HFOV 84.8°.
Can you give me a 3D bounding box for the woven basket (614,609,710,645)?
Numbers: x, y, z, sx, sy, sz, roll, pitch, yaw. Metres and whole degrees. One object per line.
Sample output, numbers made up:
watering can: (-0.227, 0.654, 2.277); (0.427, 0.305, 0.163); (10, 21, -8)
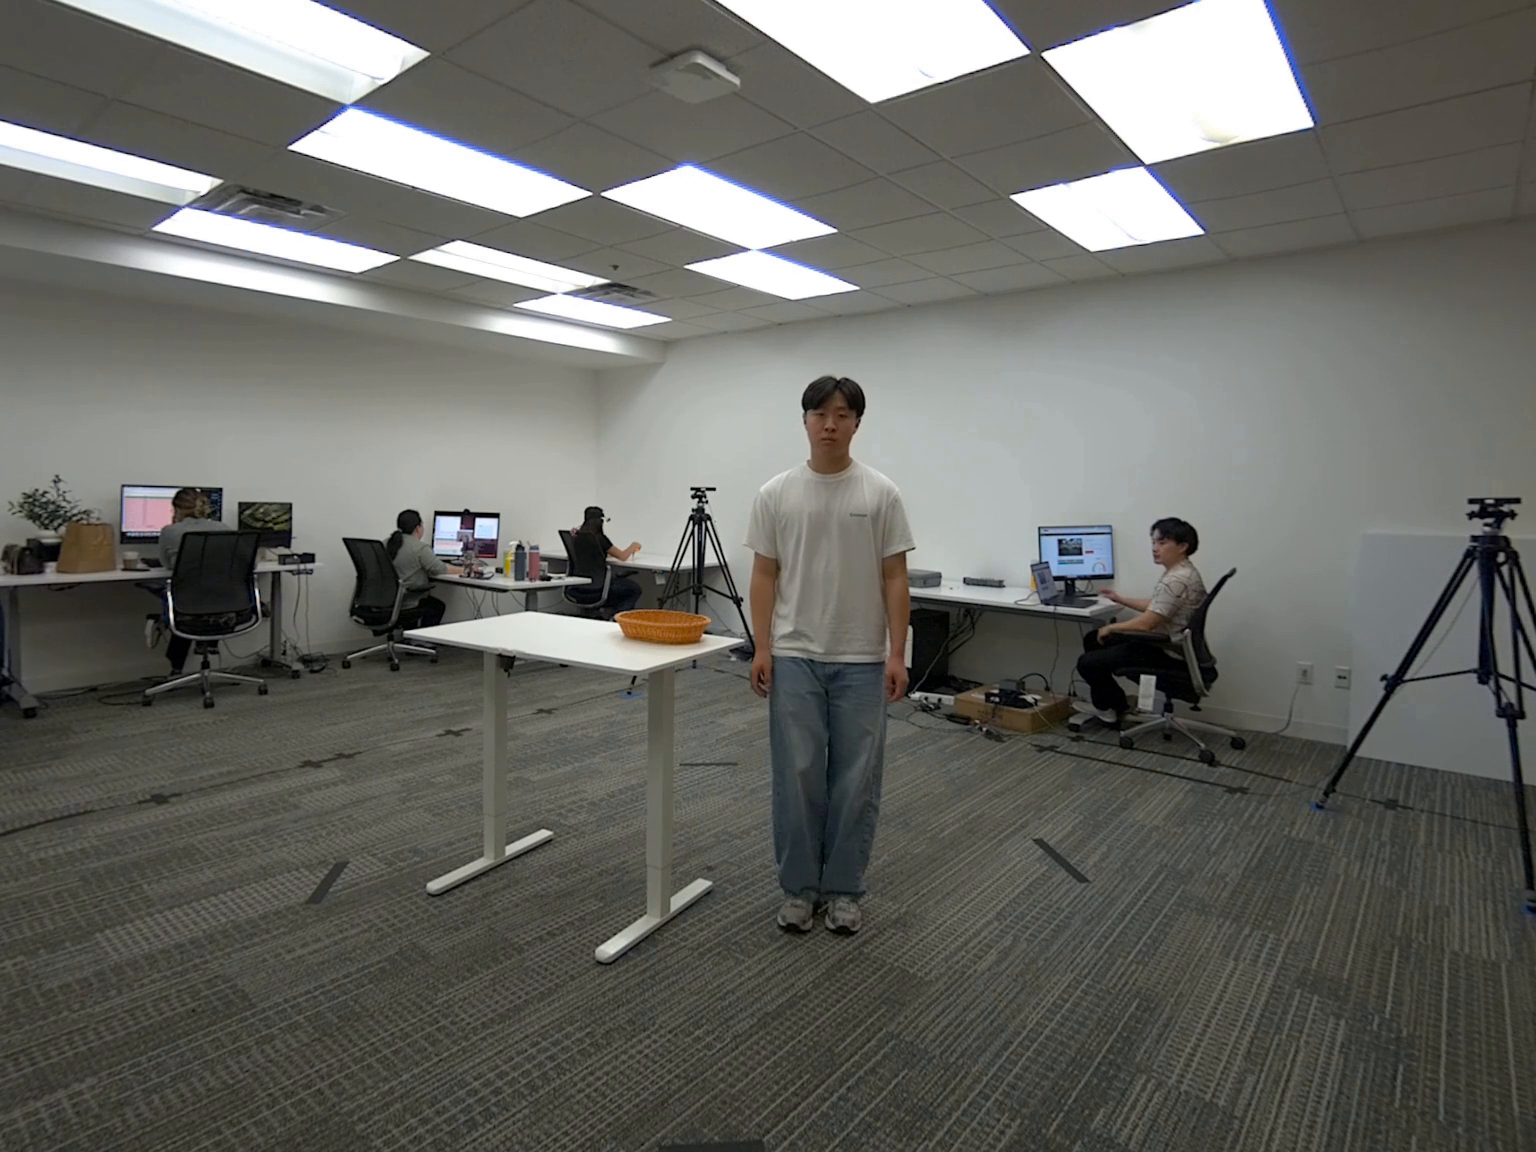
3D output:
woven basket: (-0.370, 0.176, 2.869); (0.362, 0.073, 0.245); (6, 8, 36)
